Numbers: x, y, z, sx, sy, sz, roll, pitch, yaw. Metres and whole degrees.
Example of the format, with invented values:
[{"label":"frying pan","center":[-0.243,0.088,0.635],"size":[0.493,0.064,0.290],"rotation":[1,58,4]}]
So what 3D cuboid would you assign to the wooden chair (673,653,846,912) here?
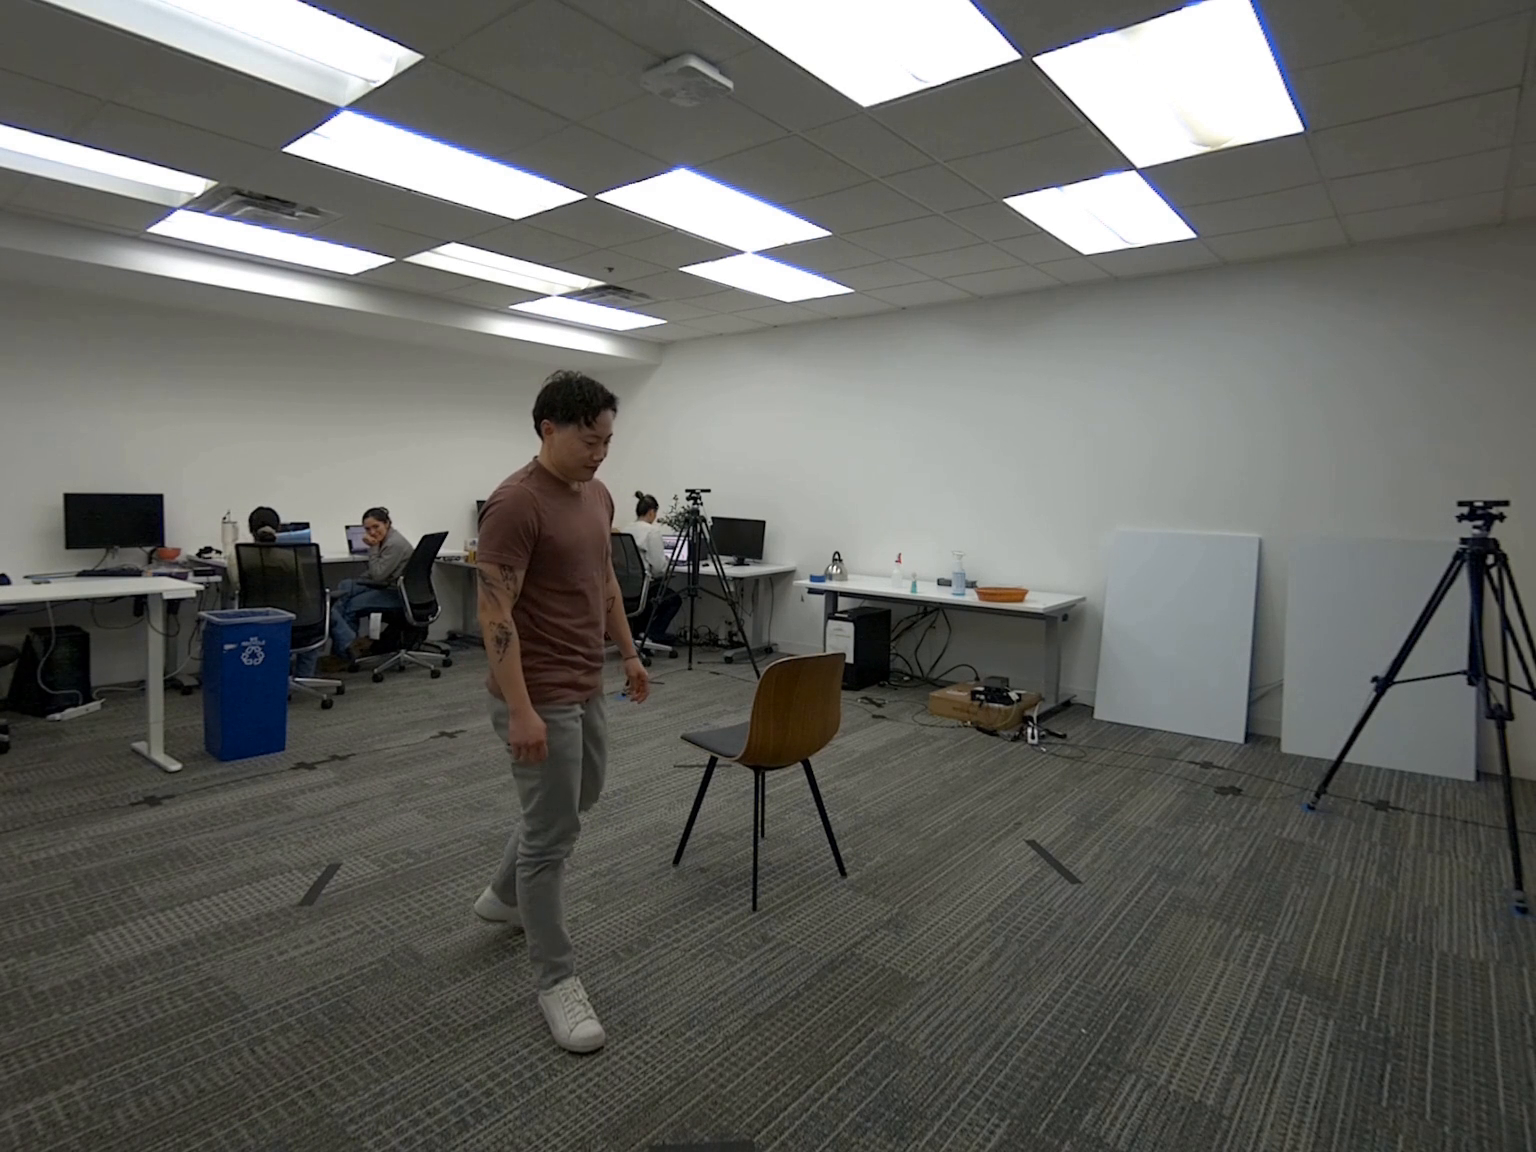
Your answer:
[{"label":"wooden chair","center":[-0.036,0.652,3.099],"size":[0.463,0.872,0.542],"rotation":[-1,9,-41]}]
